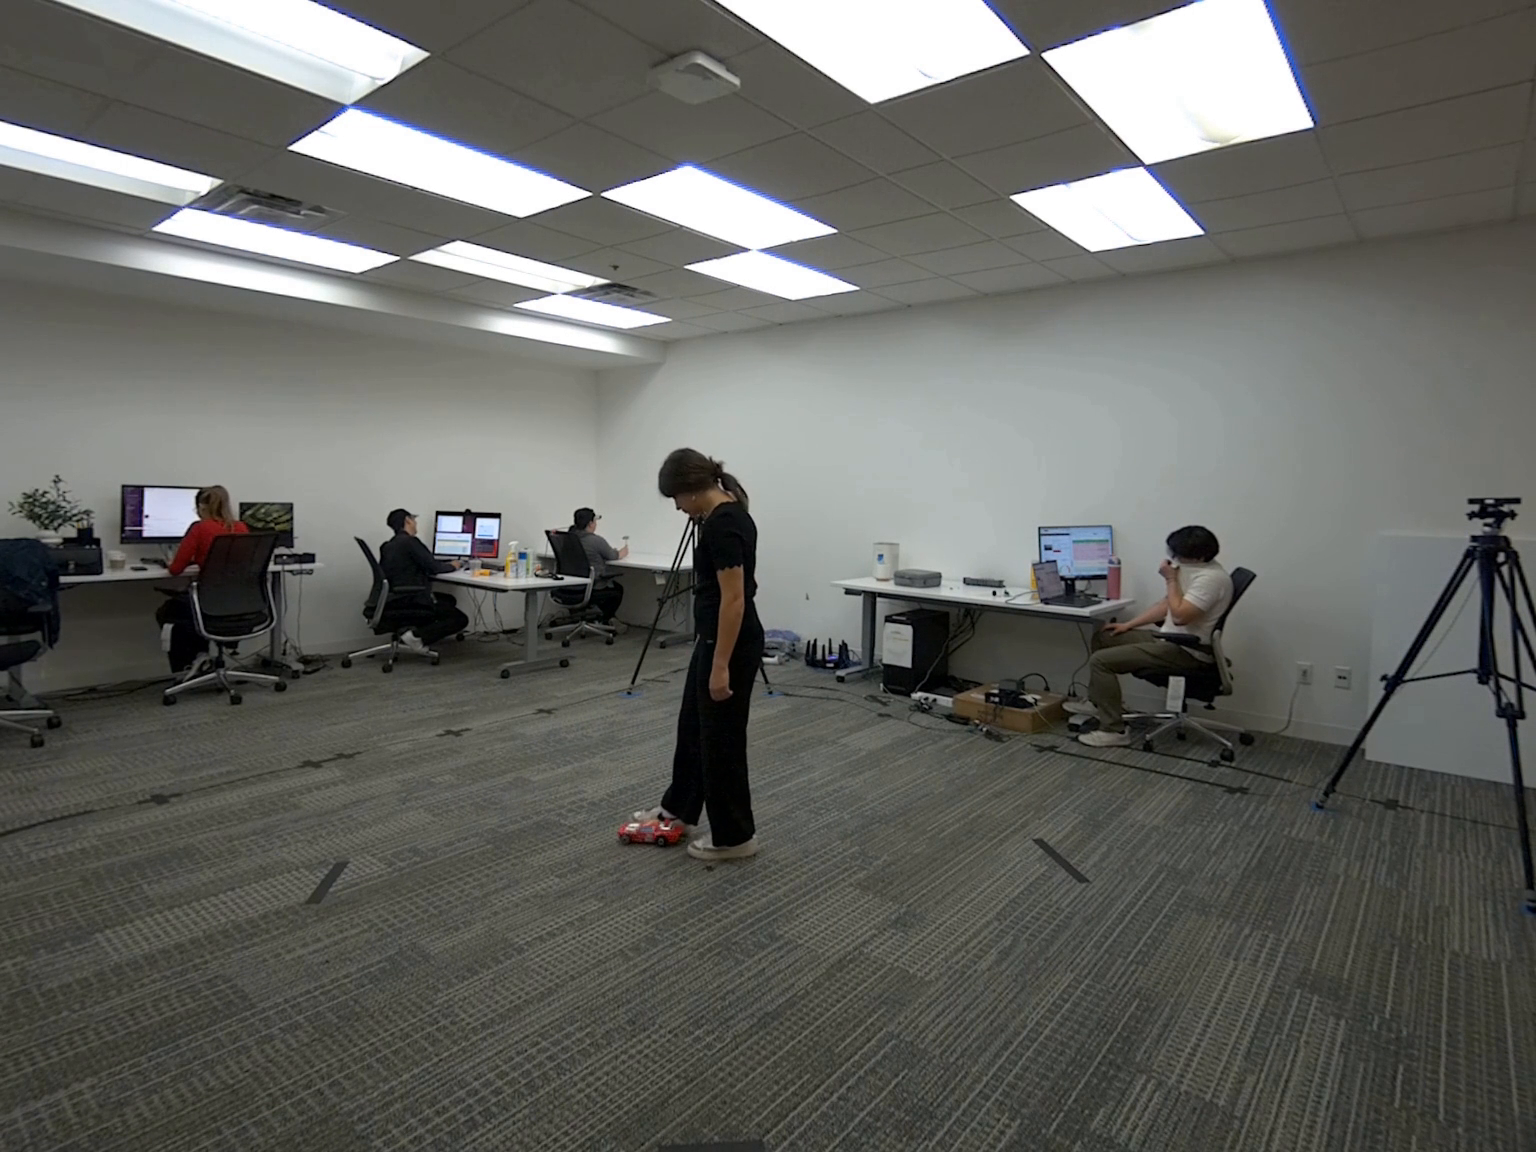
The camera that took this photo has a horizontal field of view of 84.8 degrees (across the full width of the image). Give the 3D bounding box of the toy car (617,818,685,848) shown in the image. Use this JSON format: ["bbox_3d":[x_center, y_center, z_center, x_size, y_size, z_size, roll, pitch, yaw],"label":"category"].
[{"bbox_3d":[-0.464,1.008,3.348,0.257,0.083,0.130,-9,5,9],"label":"toy car"}]
